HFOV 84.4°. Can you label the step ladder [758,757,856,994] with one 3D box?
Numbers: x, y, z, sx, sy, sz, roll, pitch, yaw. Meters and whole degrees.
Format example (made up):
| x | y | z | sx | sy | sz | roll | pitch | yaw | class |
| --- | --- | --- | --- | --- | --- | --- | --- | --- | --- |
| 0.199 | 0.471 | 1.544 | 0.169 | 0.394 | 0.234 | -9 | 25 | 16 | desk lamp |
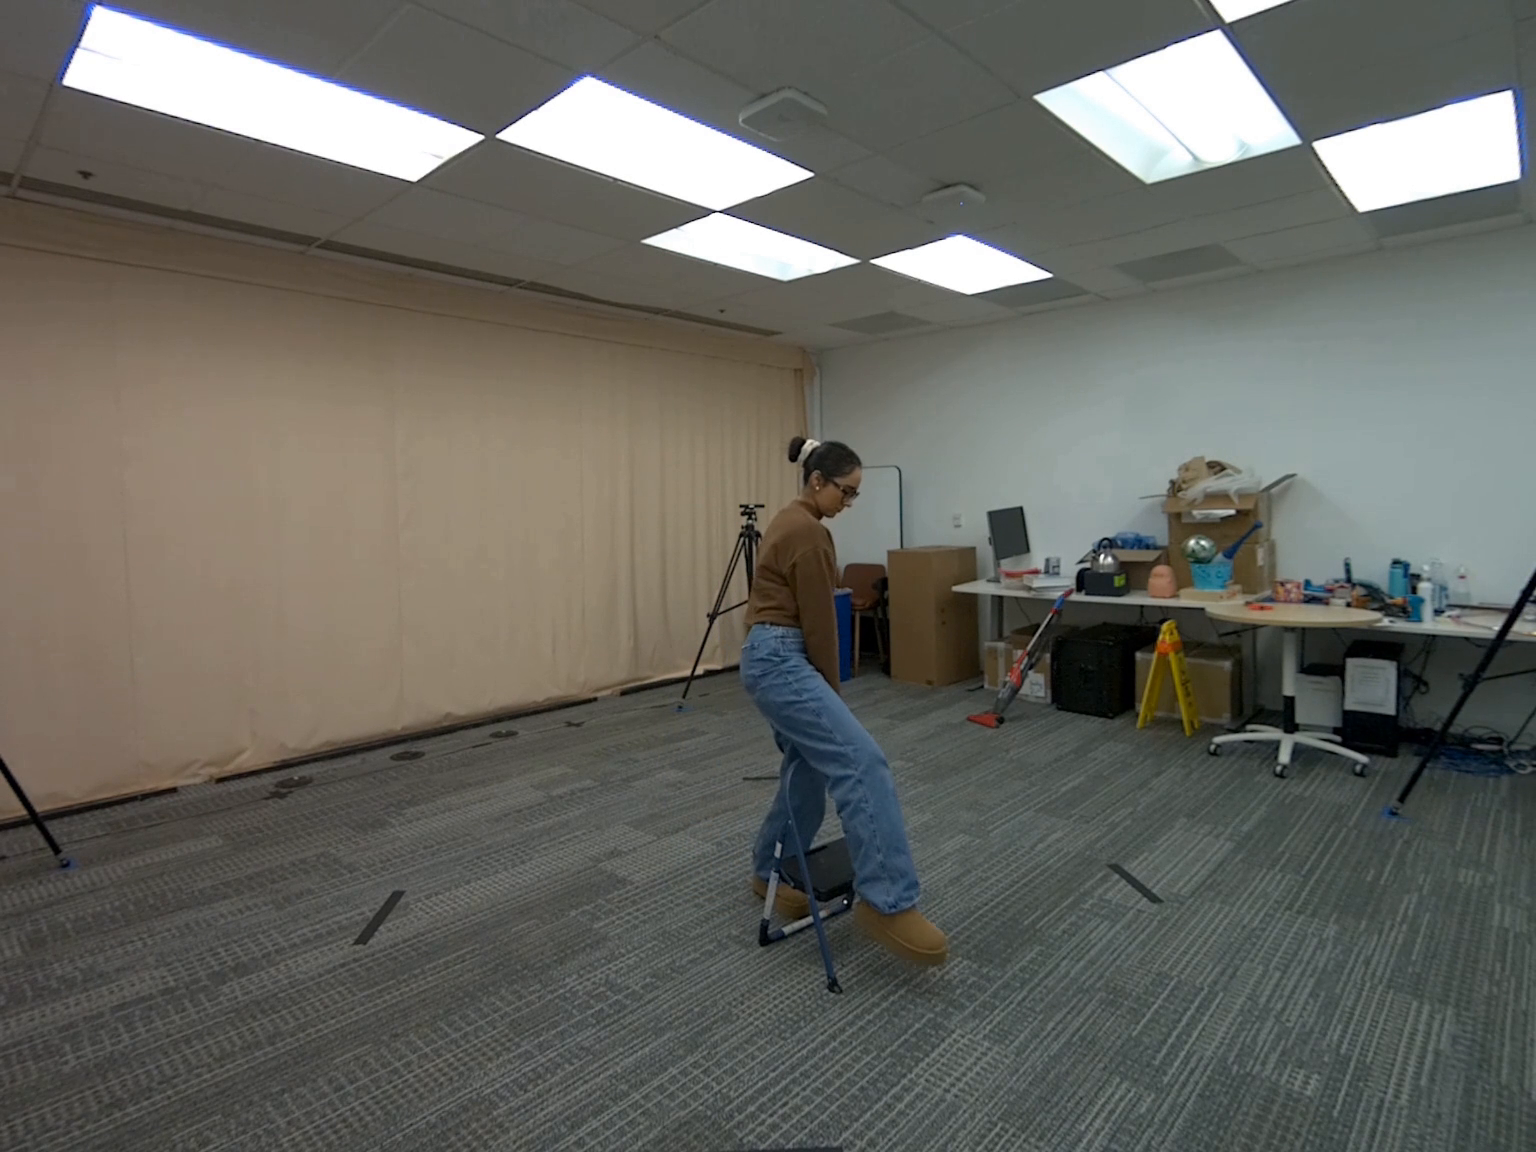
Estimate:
| x | y | z | sx | sy | sz | roll | pitch | yaw | class |
| --- | --- | --- | --- | --- | --- | --- | --- | --- | --- |
| 0.233 | 0.859 | 2.642 | 0.418 | 0.605 | 0.360 | -4 | 4 | -41 | step ladder |
